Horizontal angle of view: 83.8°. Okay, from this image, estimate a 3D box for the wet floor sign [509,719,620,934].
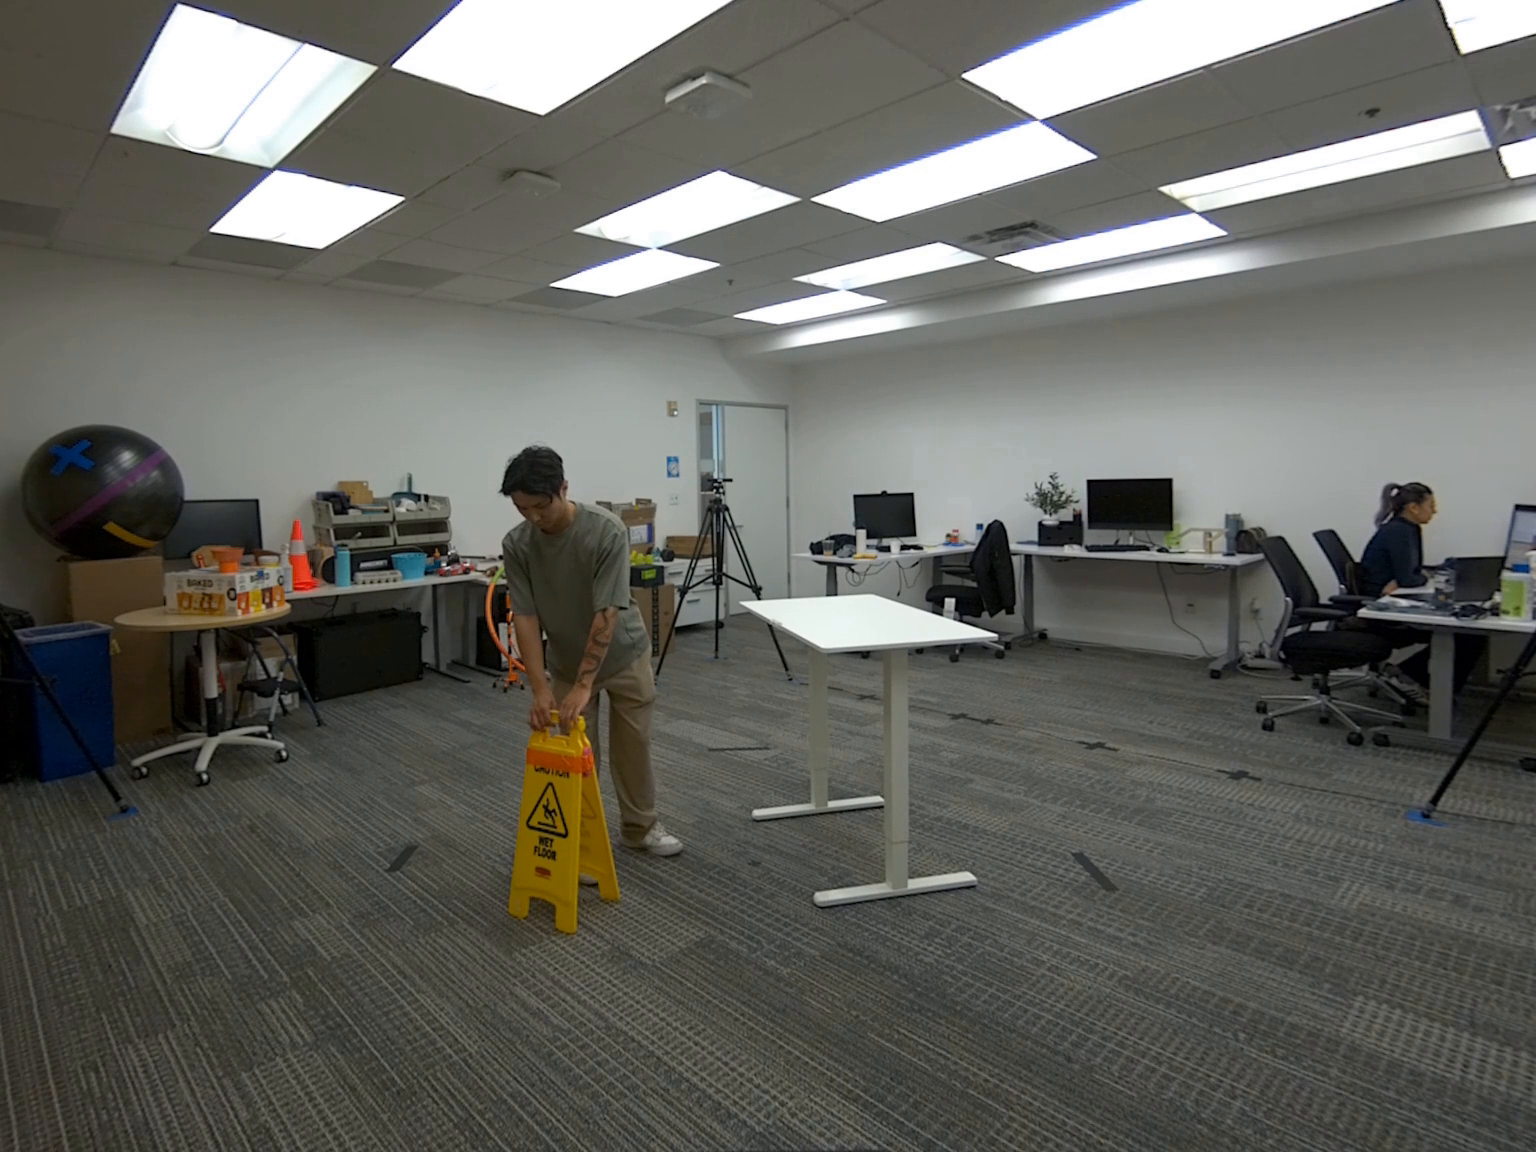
[{"bbox_3d":[-0.673,0.775,2.795,0.289,0.644,0.284,0,5,28],"label":"wet floor sign"}]
